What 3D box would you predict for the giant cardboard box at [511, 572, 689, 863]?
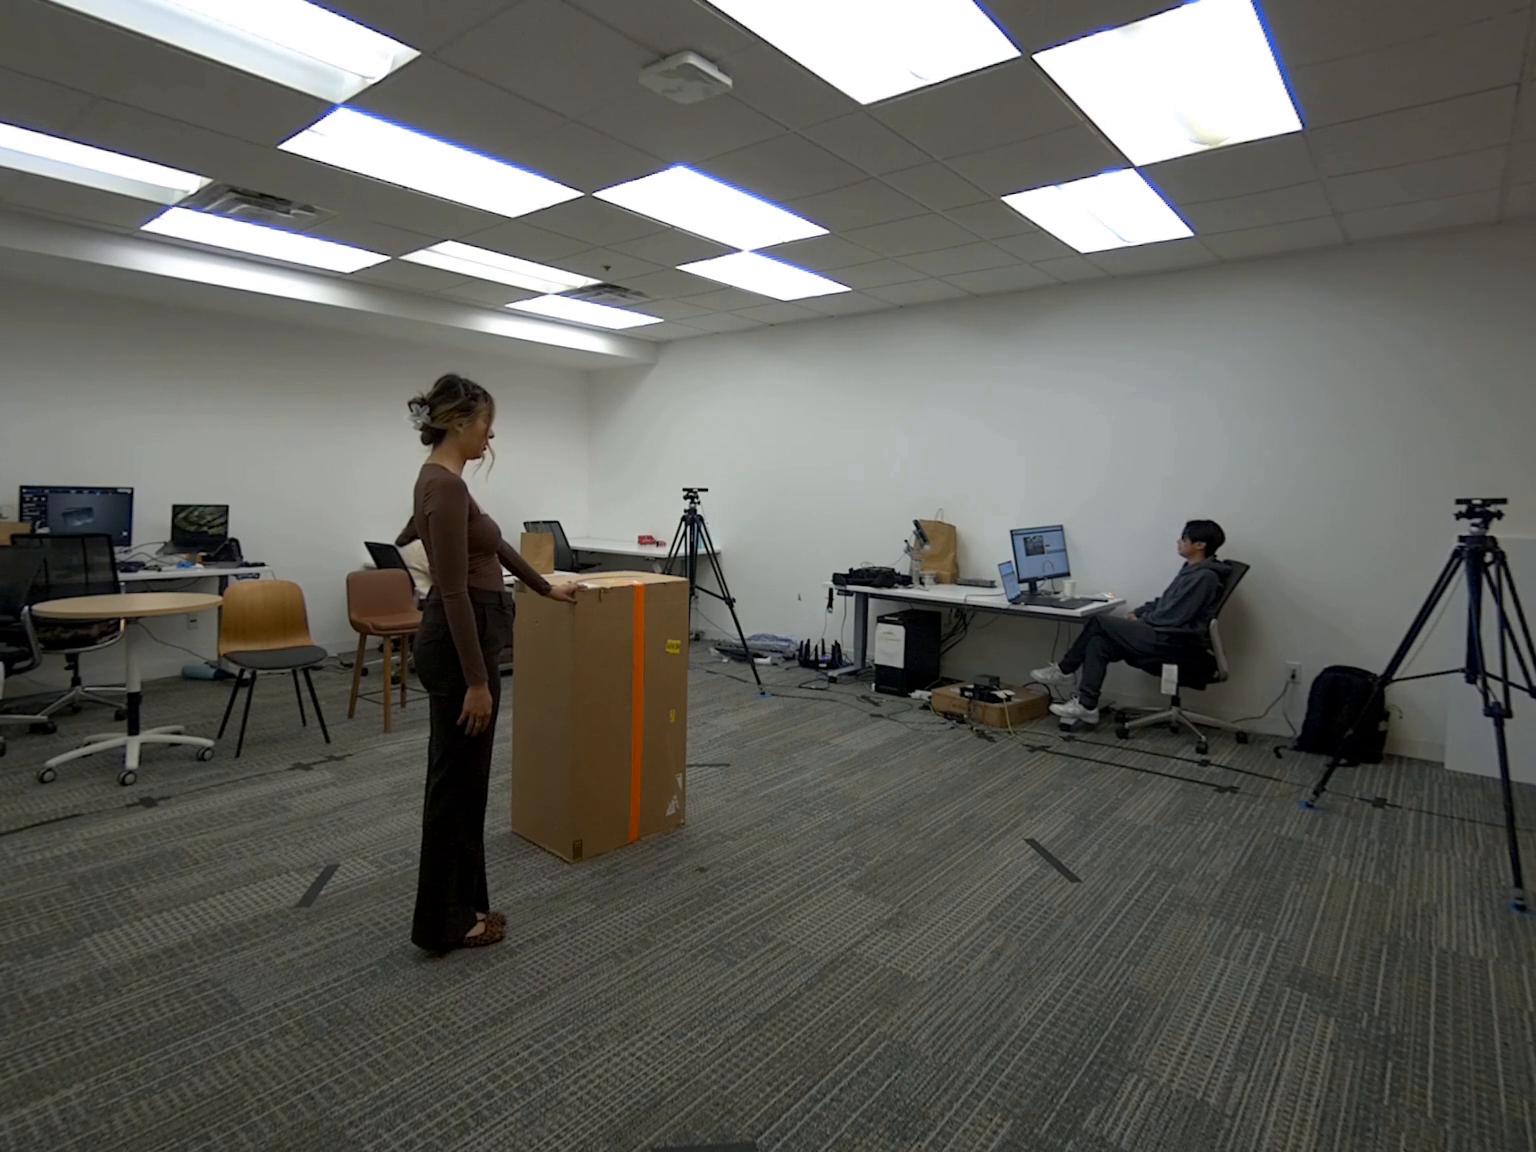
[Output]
[{"bbox_3d":[-0.688,0.519,3.455,0.462,1.024,0.566,5,5,45],"label":"giant cardboard box"}]
